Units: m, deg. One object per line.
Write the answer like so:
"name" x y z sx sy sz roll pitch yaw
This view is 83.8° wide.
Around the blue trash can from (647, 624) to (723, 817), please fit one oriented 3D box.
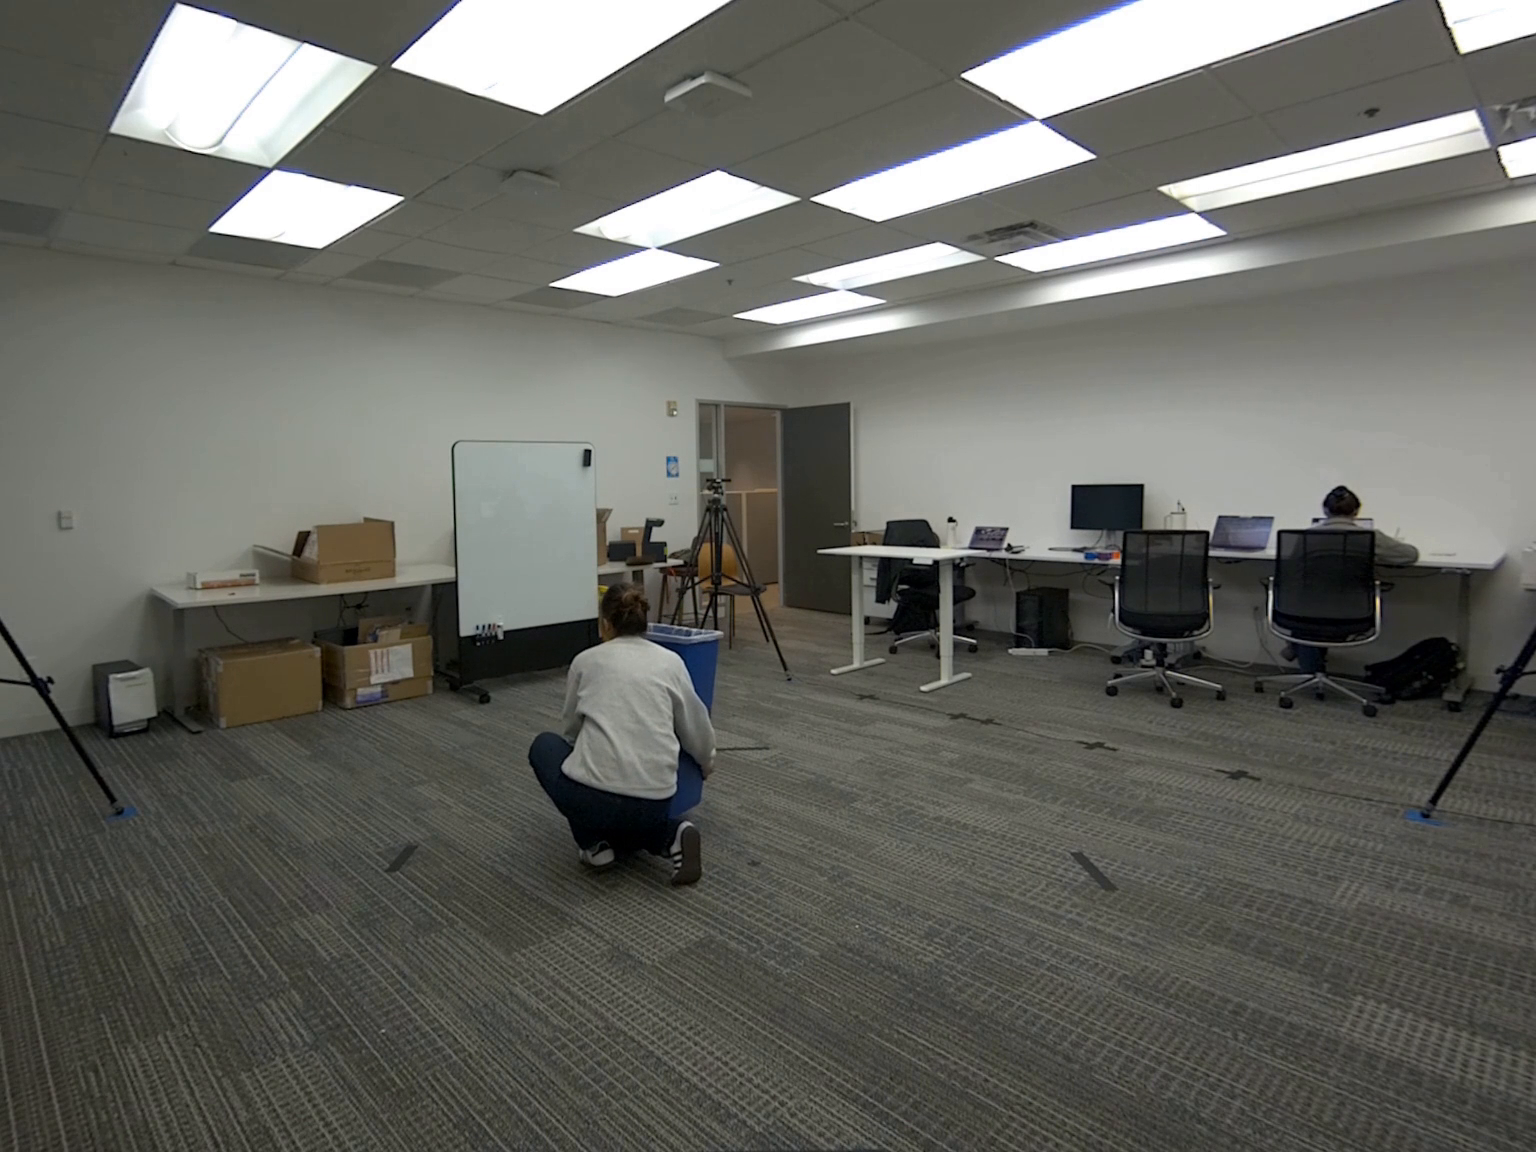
"blue trash can" -0.439 0.574 3.492 0.386 0.714 0.365 4 -1 22
